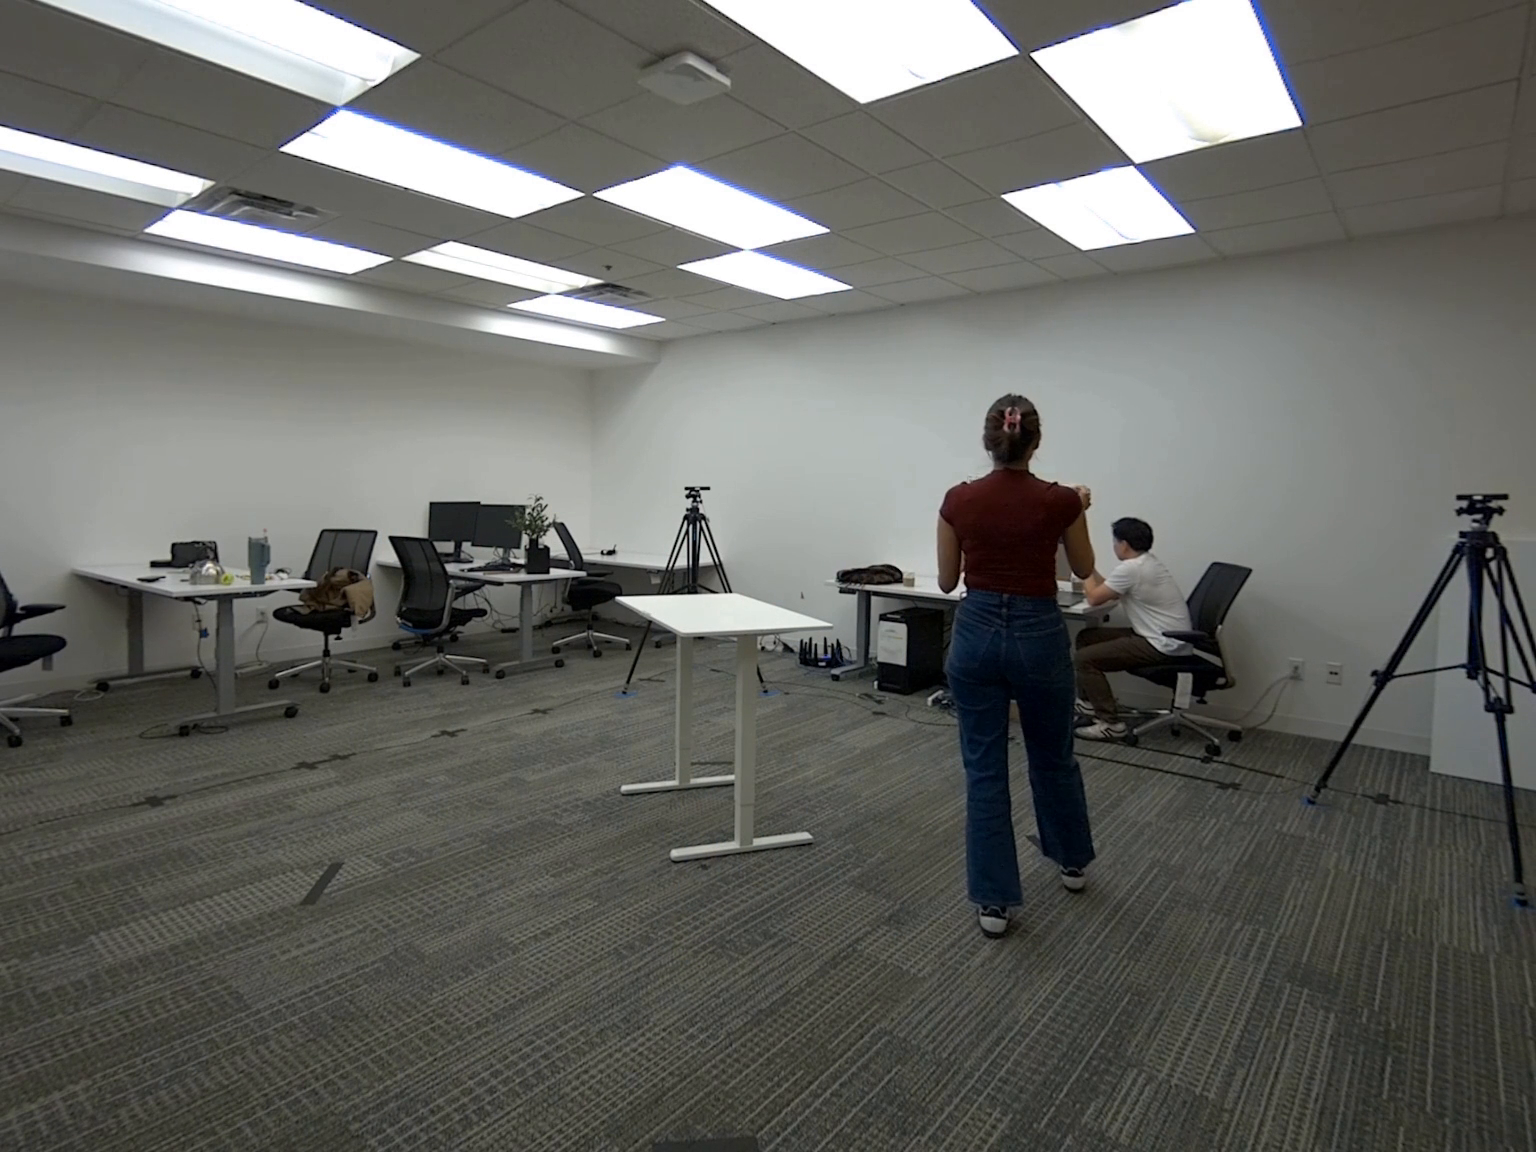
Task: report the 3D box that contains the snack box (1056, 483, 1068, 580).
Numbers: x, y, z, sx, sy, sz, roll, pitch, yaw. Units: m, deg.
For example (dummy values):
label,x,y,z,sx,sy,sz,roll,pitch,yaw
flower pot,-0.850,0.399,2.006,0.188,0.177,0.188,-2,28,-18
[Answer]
label,x,y,z,sx,sy,sz,roll,pitch,yaw
snack box,0.936,-0.194,3.219,0.412,0.336,0.205,8,13,13
